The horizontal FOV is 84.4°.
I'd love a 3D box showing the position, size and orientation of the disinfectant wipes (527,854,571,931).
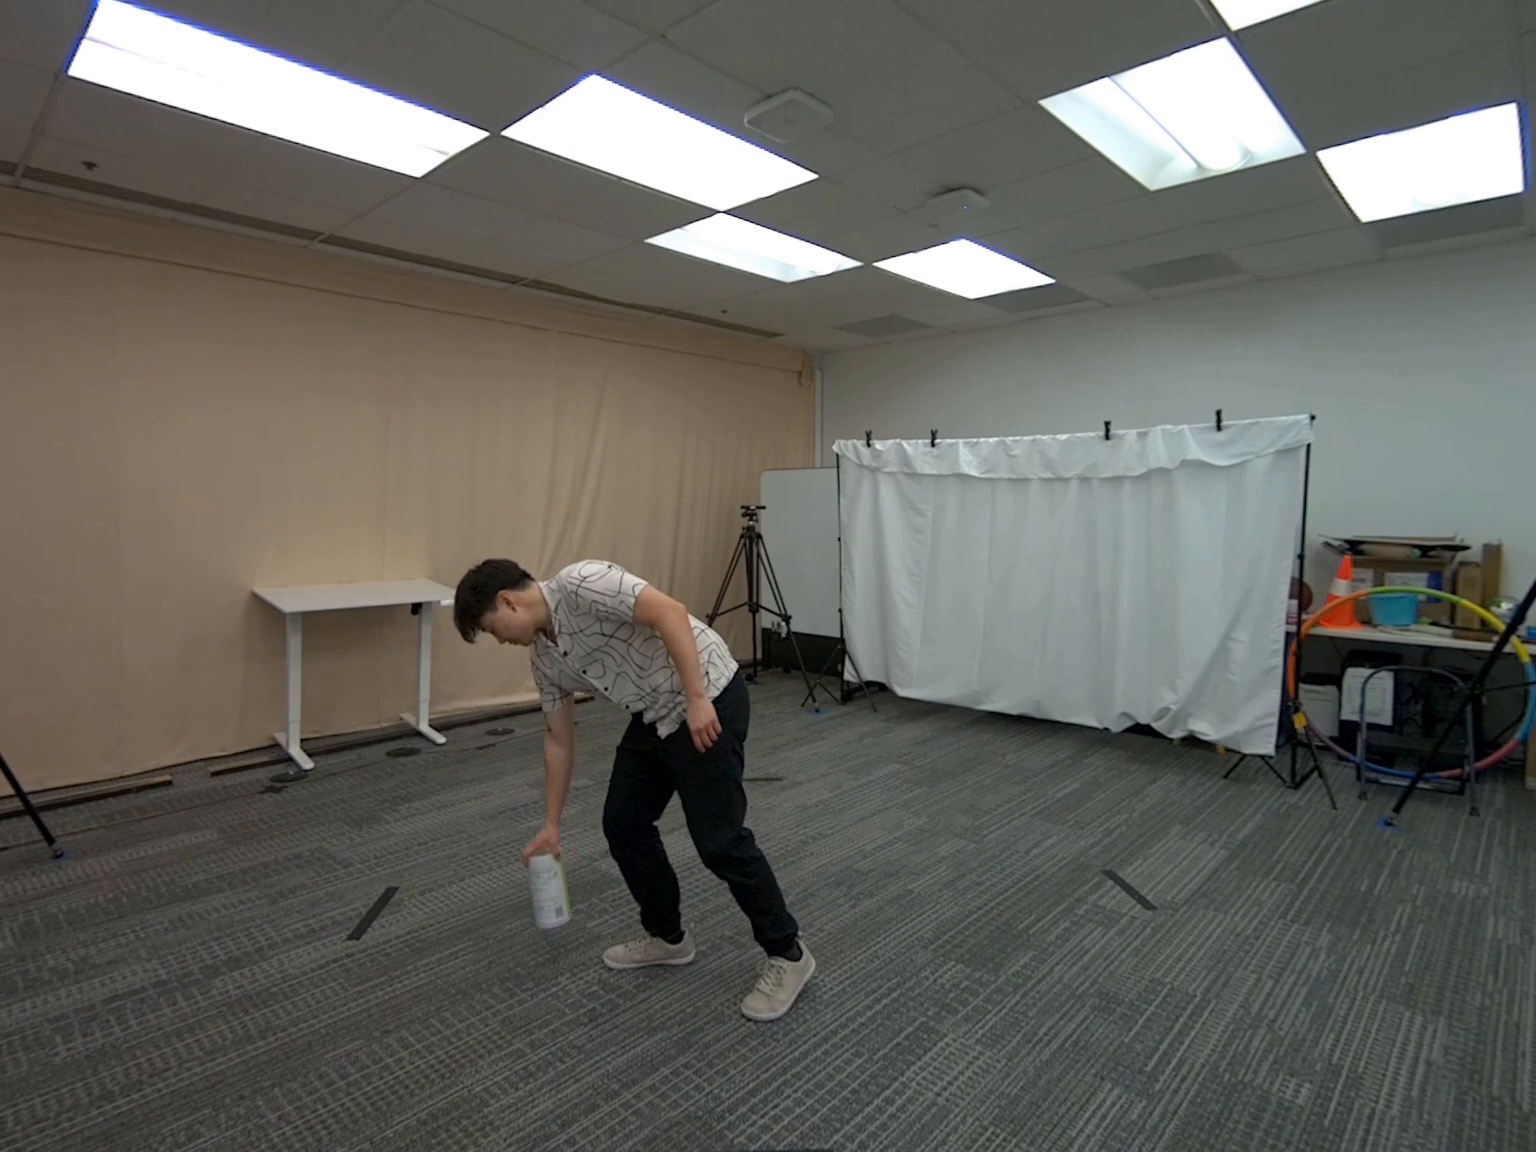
[{"bbox_3d":[-0.663,0.952,2.562,0.117,0.218,0.117,-9,-3,-2],"label":"disinfectant wipes"}]
